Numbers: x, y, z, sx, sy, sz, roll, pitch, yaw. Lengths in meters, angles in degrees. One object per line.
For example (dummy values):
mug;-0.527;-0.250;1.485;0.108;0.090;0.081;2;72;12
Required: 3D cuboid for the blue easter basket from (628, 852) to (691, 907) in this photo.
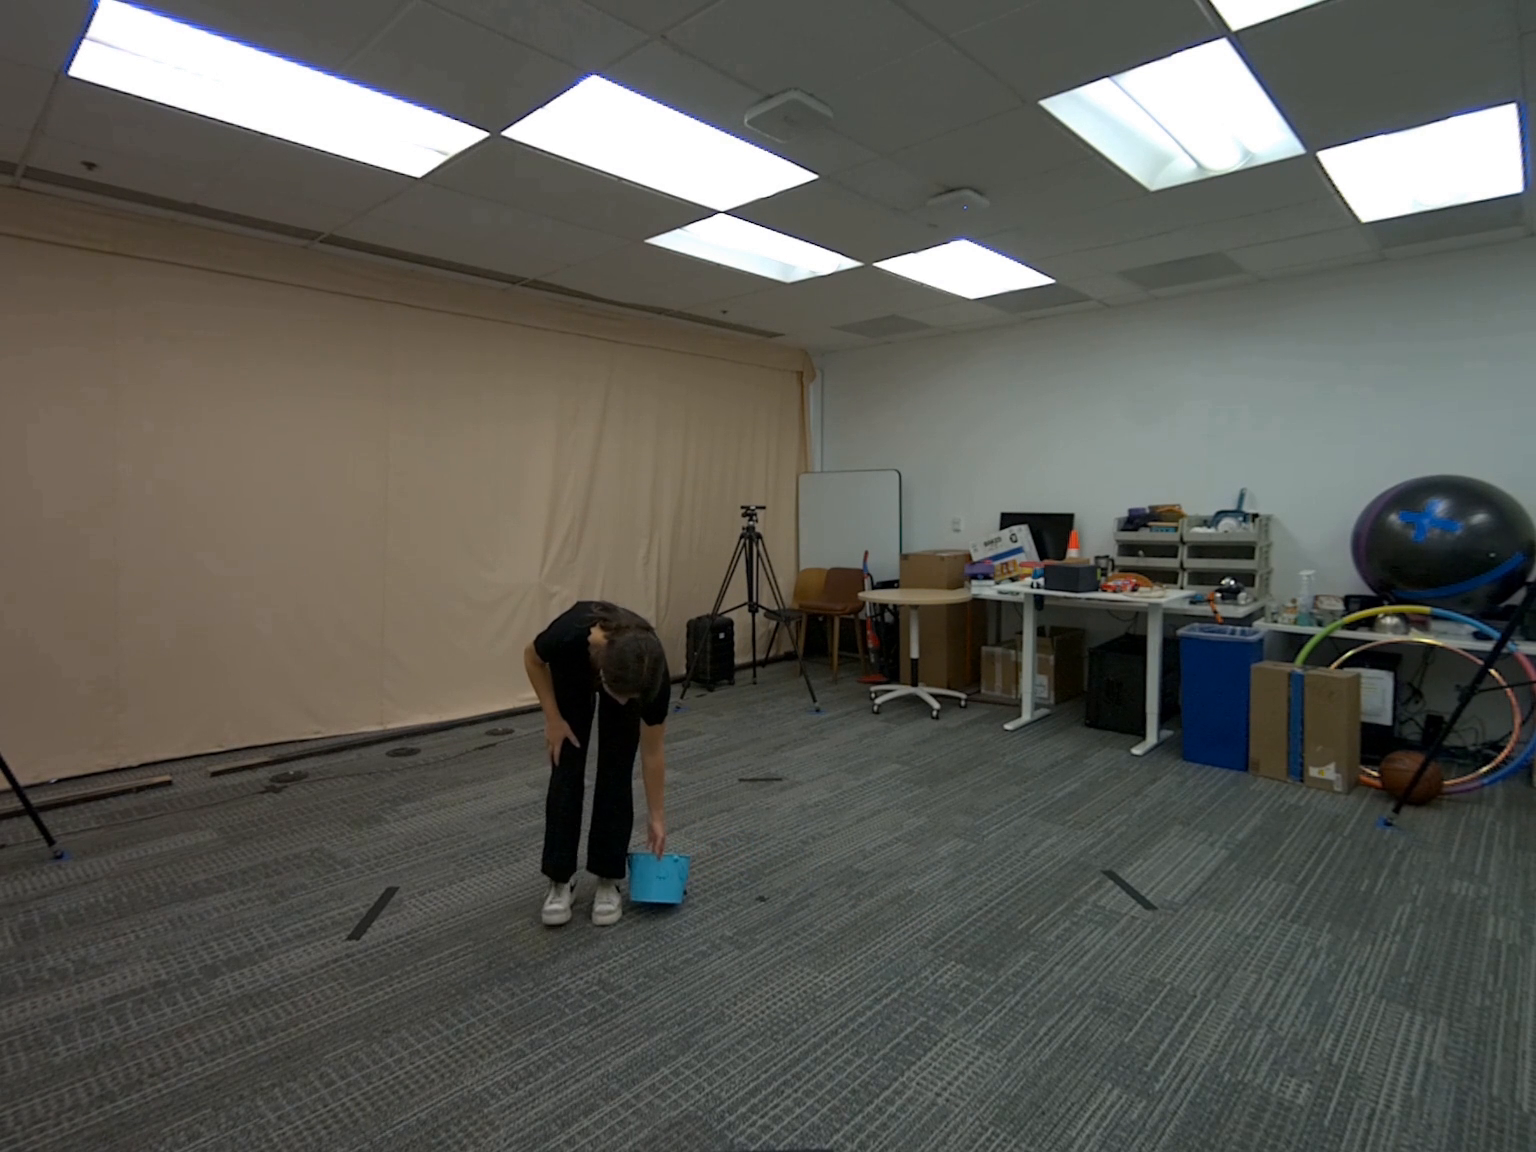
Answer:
blue easter basket;-0.377;1.047;2.914;0.244;0.157;0.241;4;-20;0
